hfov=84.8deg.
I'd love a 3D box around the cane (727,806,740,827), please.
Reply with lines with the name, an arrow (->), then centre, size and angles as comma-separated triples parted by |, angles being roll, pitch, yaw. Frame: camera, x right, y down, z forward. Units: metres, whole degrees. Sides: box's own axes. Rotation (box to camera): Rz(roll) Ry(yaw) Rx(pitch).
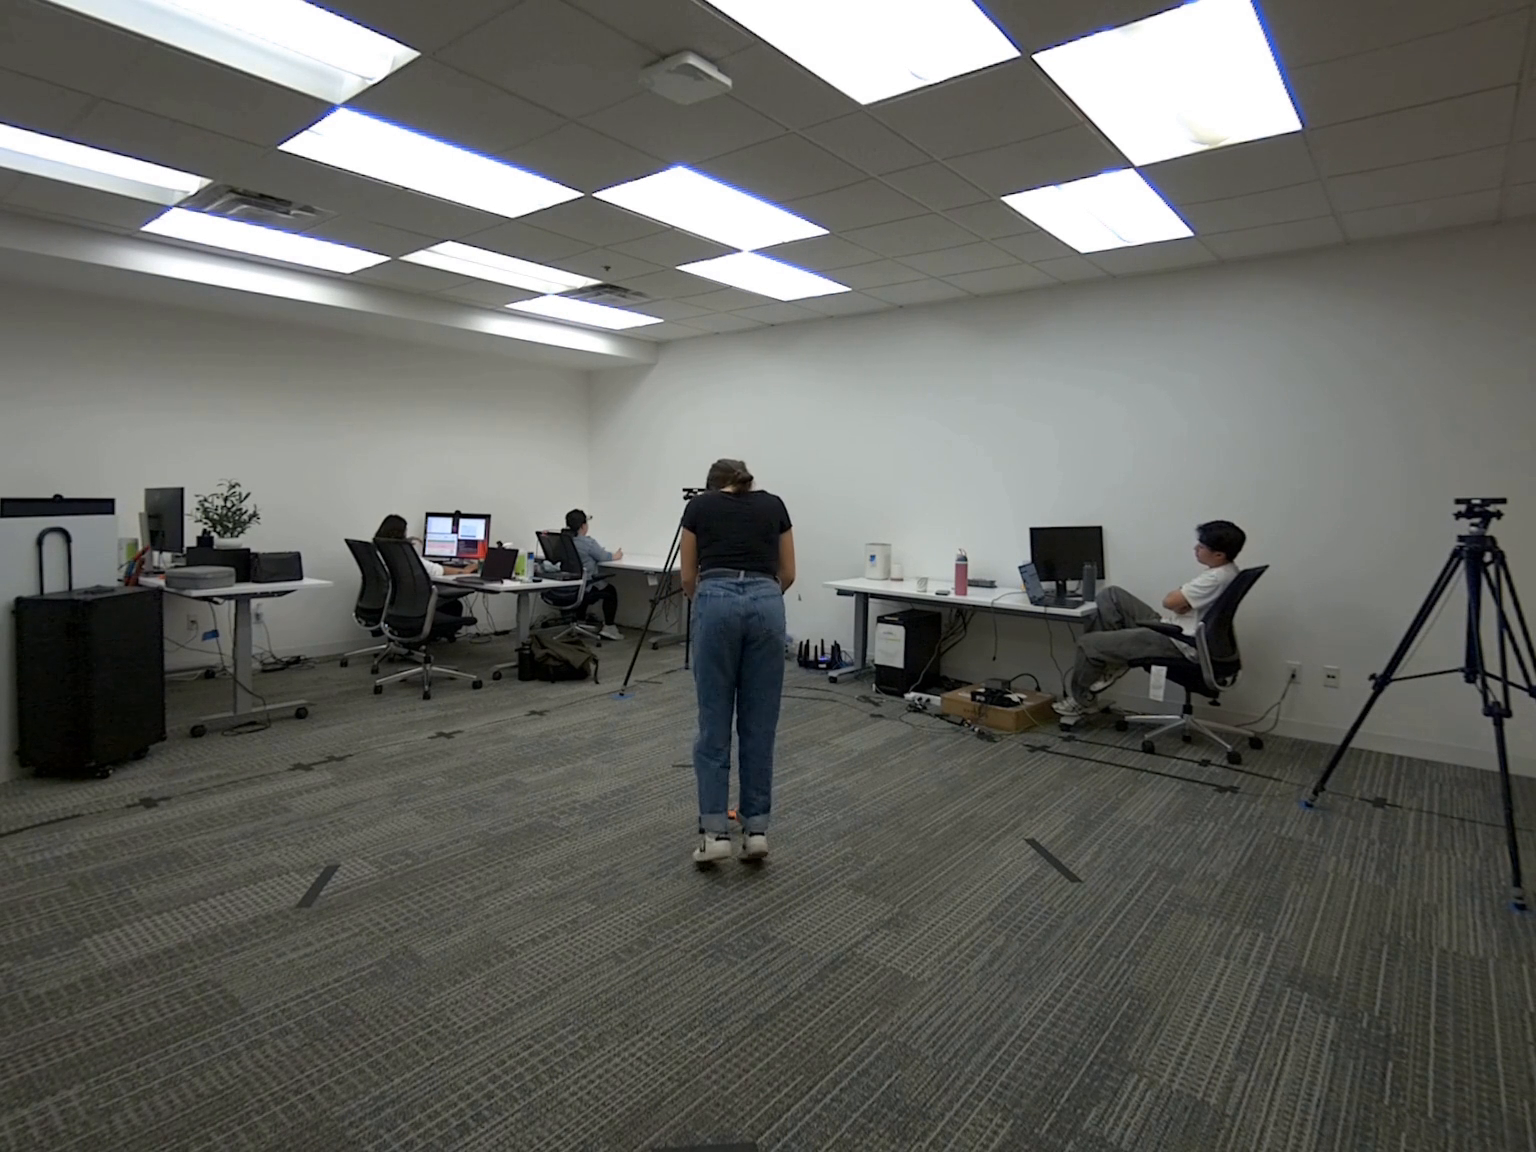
cane -> -0.168, 0.566, 3.487 | 0.205, 0.906, 0.153 | 1, 2, -5
